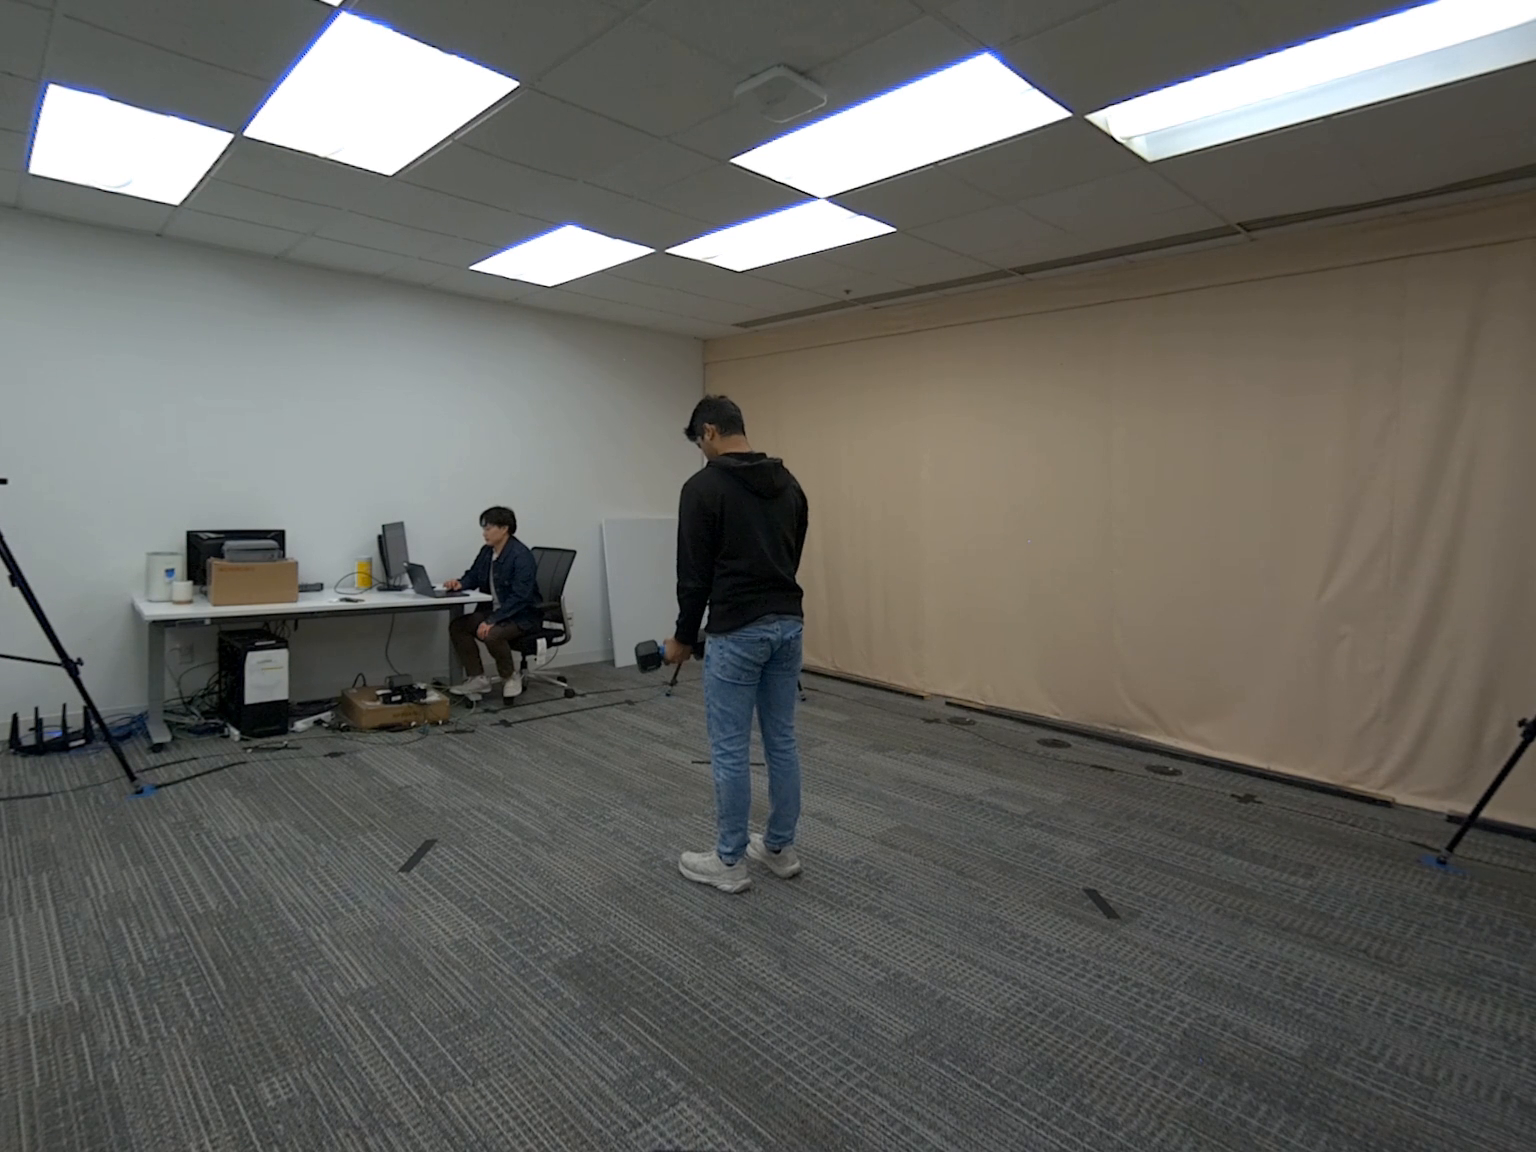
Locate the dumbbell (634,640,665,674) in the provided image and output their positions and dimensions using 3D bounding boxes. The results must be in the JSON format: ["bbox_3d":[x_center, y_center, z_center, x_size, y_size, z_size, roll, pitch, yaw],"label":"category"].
[{"bbox_3d":[-0.339,0.278,3.121,0.291,0.110,0.122,-11,-13,-12],"label":"dumbbell"}]
